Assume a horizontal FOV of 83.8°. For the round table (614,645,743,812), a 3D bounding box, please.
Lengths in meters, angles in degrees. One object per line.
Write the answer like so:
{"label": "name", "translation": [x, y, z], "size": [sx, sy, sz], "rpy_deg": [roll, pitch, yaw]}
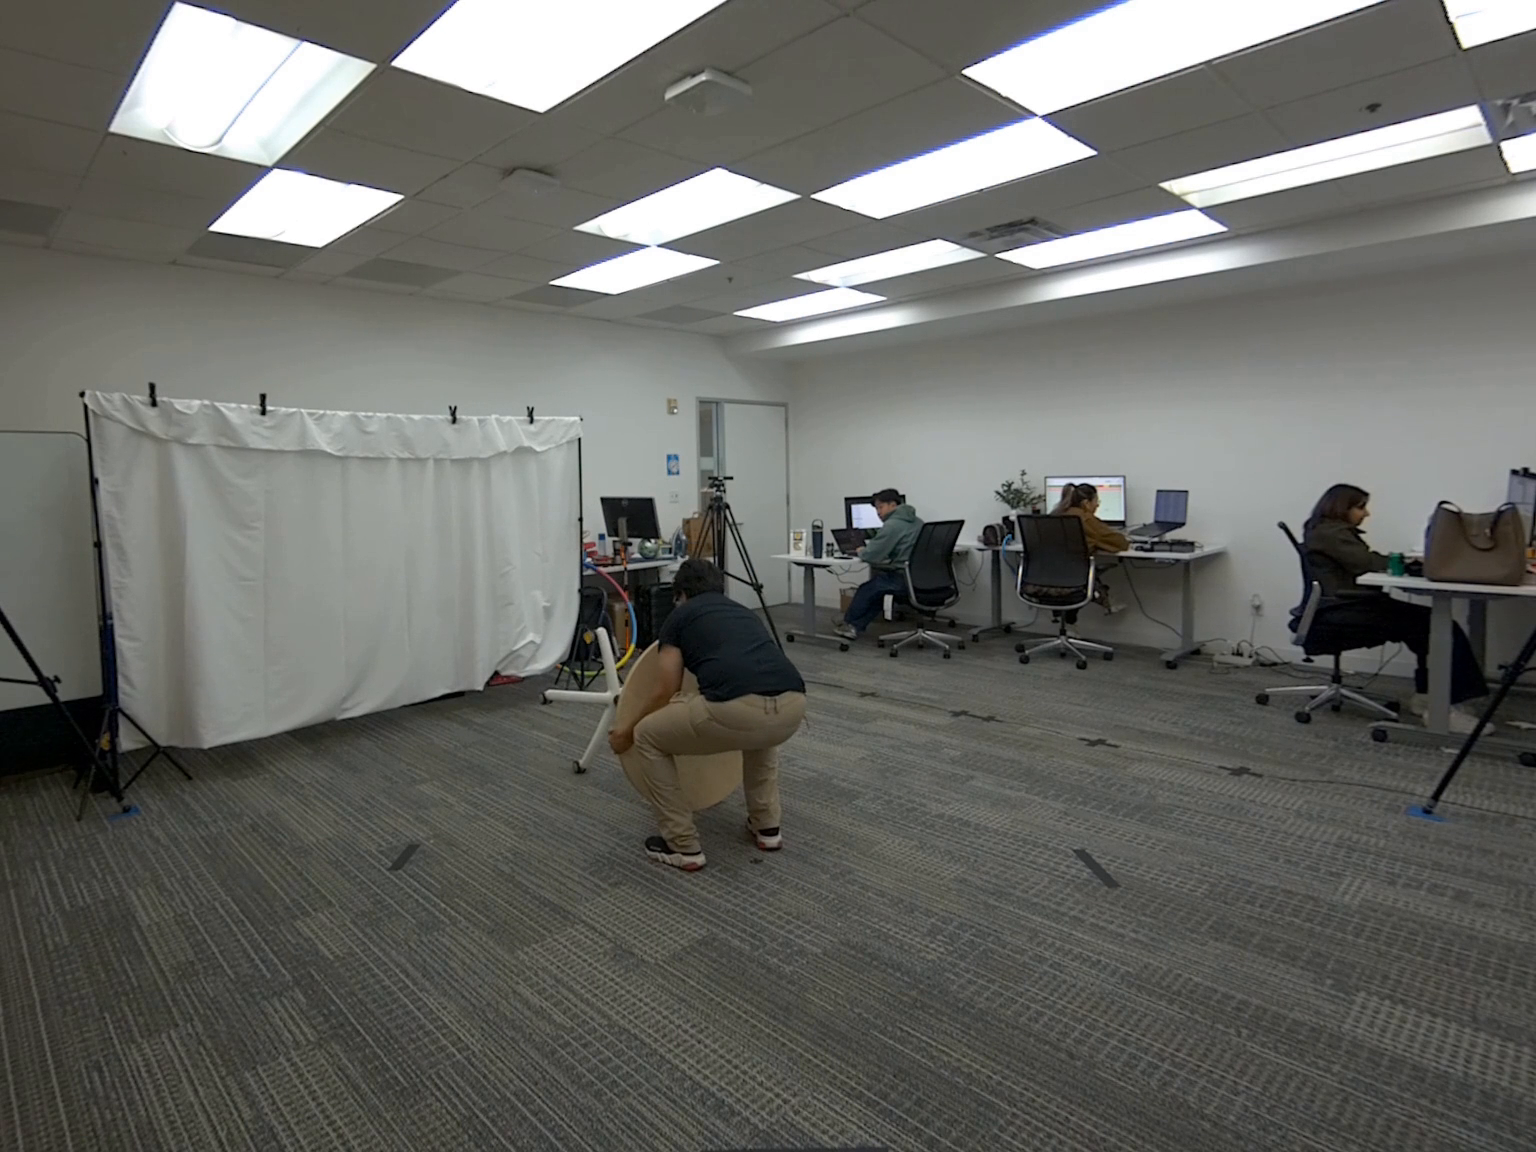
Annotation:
{"label": "round table", "translation": [-0.547, 0.596, 3.917], "size": [0.765, 0.784, 0.808], "rpy_deg": [-5, 2, -38]}
